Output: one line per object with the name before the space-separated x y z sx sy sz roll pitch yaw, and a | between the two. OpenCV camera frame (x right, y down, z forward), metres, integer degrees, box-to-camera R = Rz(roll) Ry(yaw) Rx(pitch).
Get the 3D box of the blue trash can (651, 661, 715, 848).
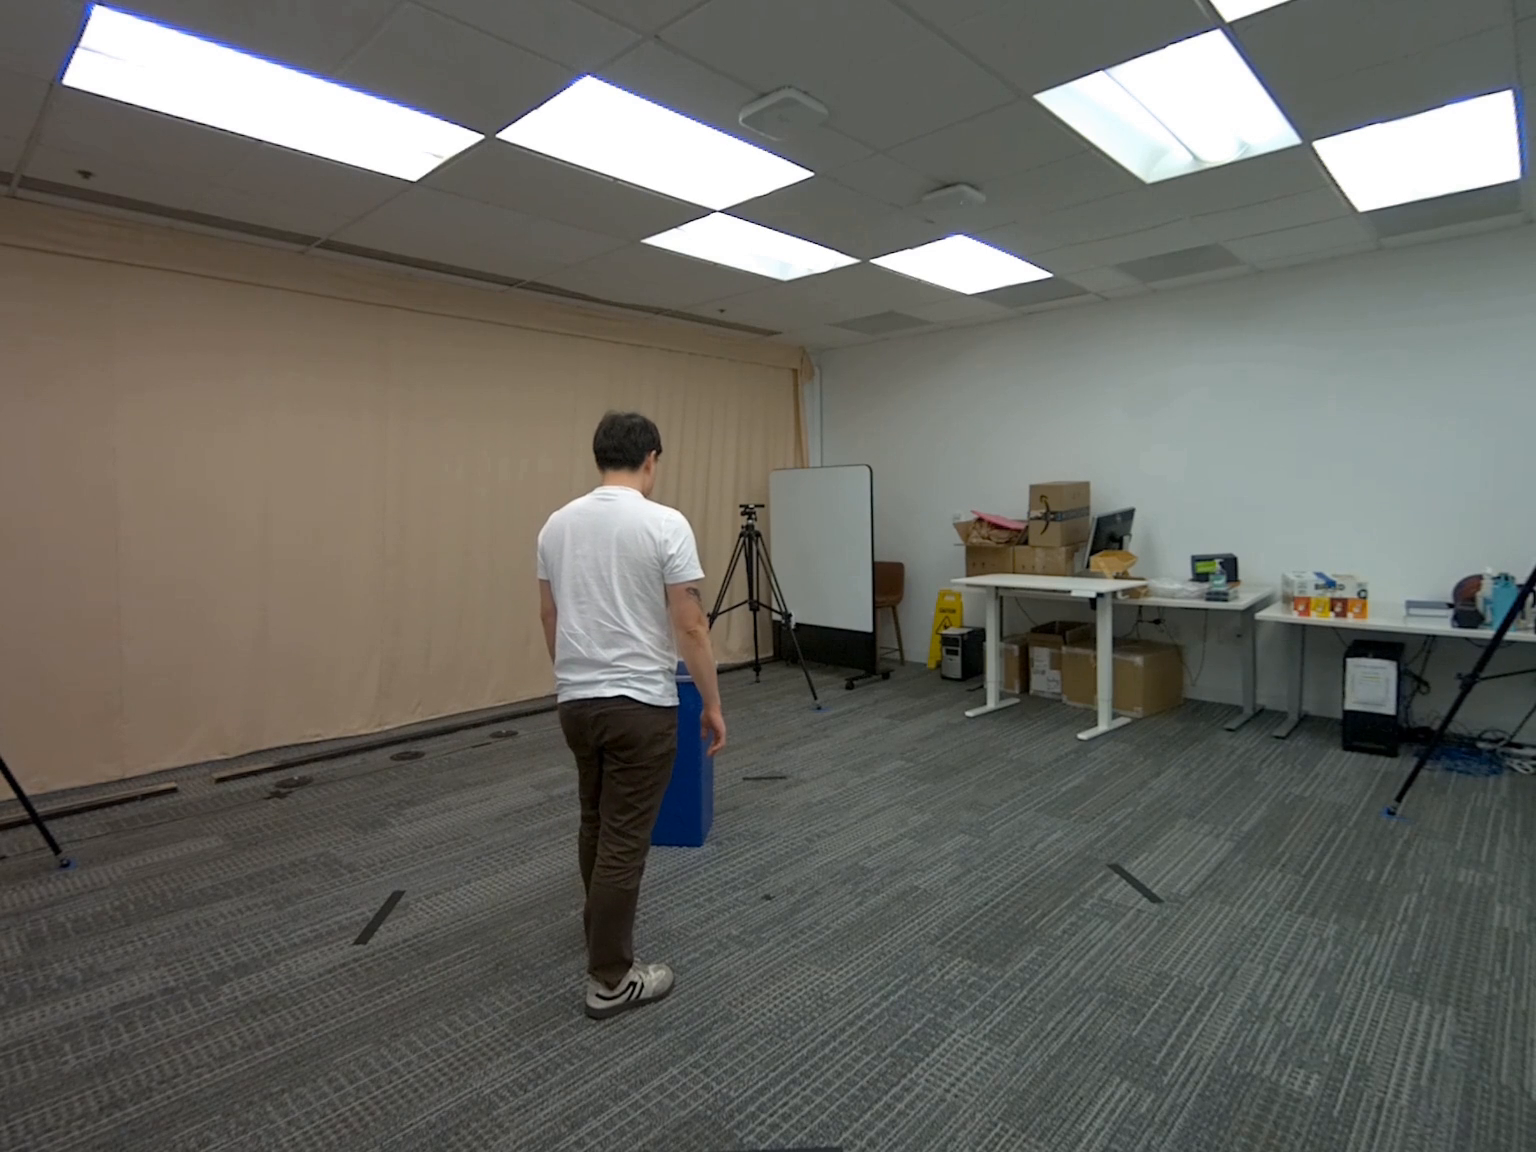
blue trash can | -0.417 0.741 3.575 0.381 0.712 0.371 -1 2 7
